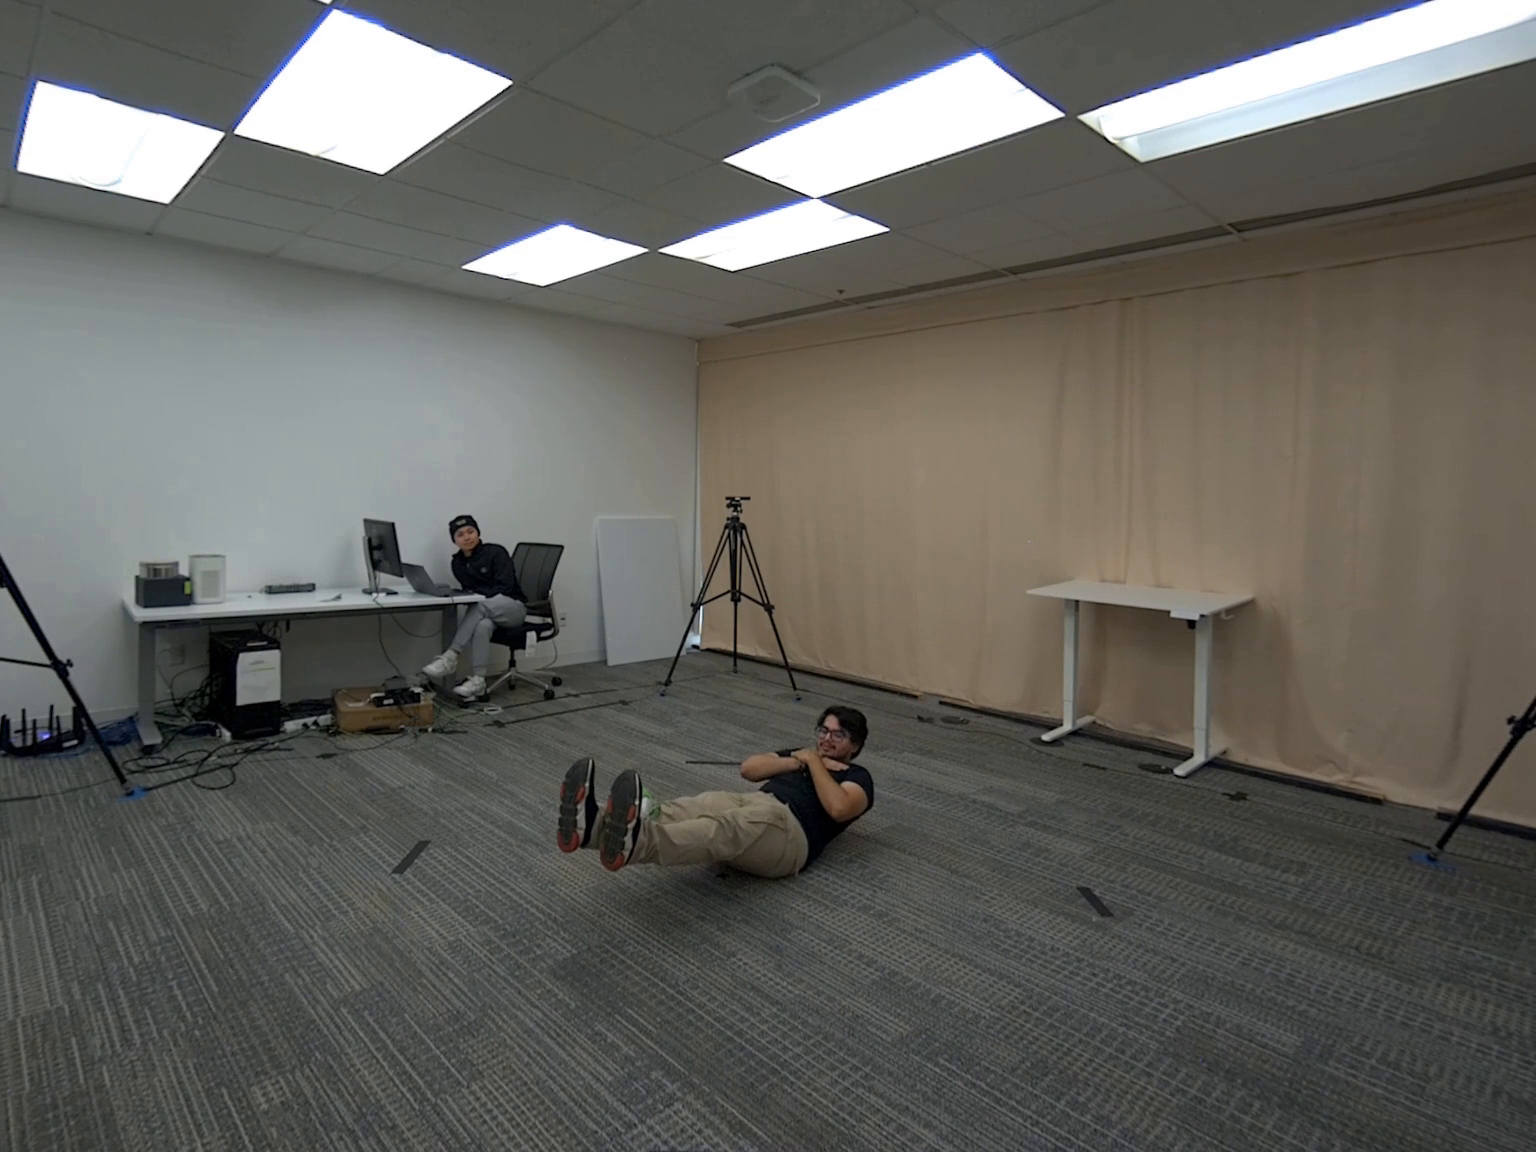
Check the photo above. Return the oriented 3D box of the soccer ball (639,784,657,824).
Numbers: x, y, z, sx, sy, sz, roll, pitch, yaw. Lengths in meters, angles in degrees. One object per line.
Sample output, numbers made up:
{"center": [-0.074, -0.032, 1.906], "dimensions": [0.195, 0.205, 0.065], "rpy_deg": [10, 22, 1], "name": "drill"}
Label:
{"center": [-0.450, 0.785, 2.730], "dimensions": [0.187, 0.187, 0.188], "rpy_deg": [1, 5, -1], "name": "soccer ball"}
